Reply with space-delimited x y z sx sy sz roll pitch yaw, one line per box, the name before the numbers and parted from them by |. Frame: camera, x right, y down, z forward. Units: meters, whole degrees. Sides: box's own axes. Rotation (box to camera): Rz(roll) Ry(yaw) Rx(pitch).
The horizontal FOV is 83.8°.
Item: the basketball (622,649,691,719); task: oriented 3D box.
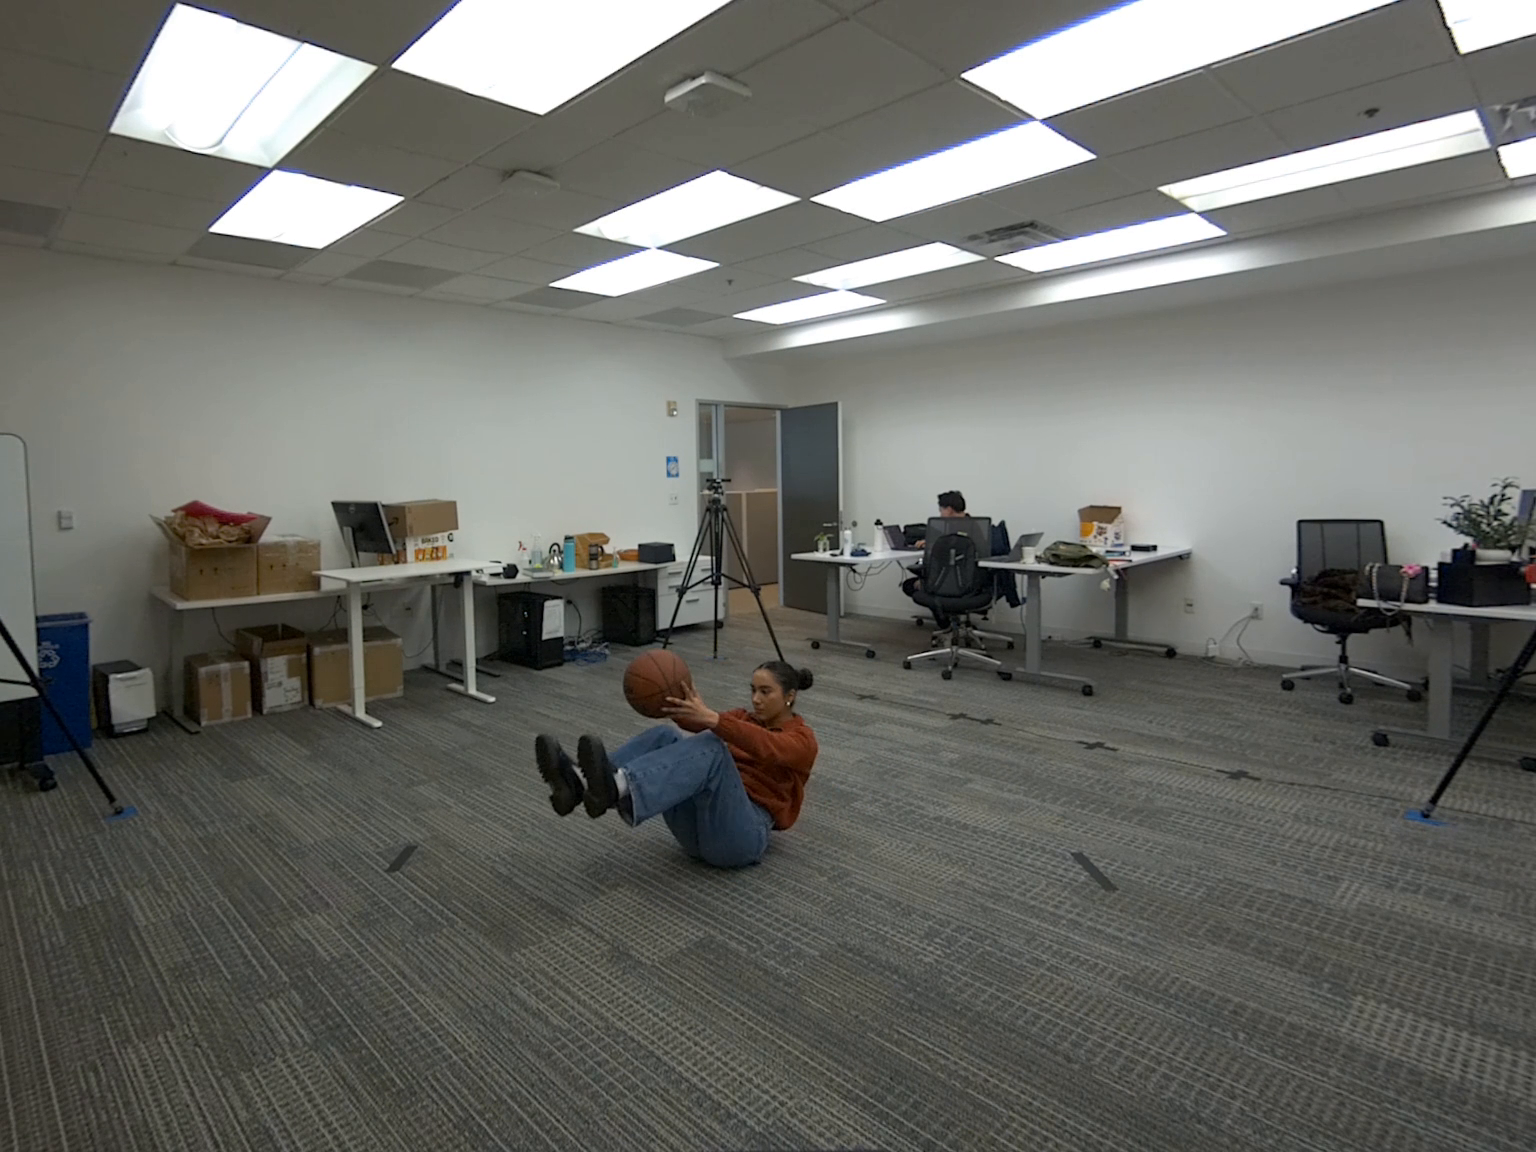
basketball | -0.374 0.377 2.941 0.236 0.236 0.236 0 1 -2
